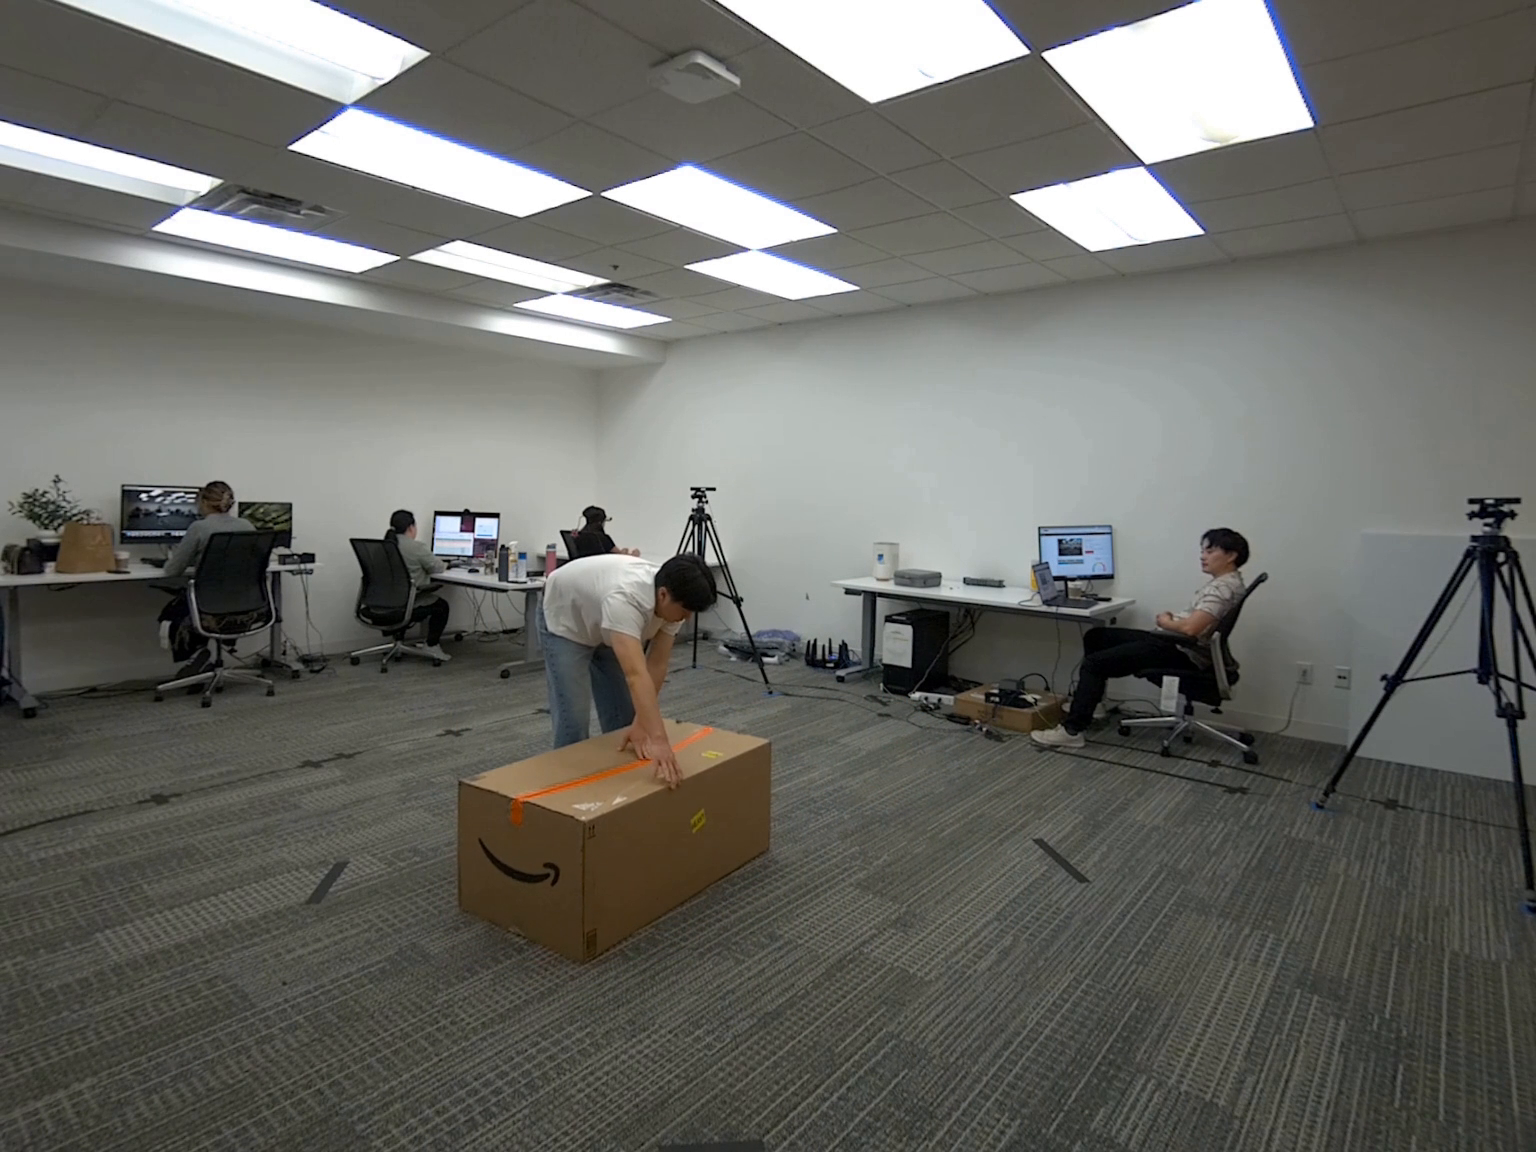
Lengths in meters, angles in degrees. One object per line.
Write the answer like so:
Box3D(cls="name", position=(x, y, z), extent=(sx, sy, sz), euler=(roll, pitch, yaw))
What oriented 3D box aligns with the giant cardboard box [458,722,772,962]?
Box3D(cls="giant cardboard box", position=(-0.508, 0.861, 3.033), extent=(0.596, 0.425, 0.998), euler=(4, 6, 33))
